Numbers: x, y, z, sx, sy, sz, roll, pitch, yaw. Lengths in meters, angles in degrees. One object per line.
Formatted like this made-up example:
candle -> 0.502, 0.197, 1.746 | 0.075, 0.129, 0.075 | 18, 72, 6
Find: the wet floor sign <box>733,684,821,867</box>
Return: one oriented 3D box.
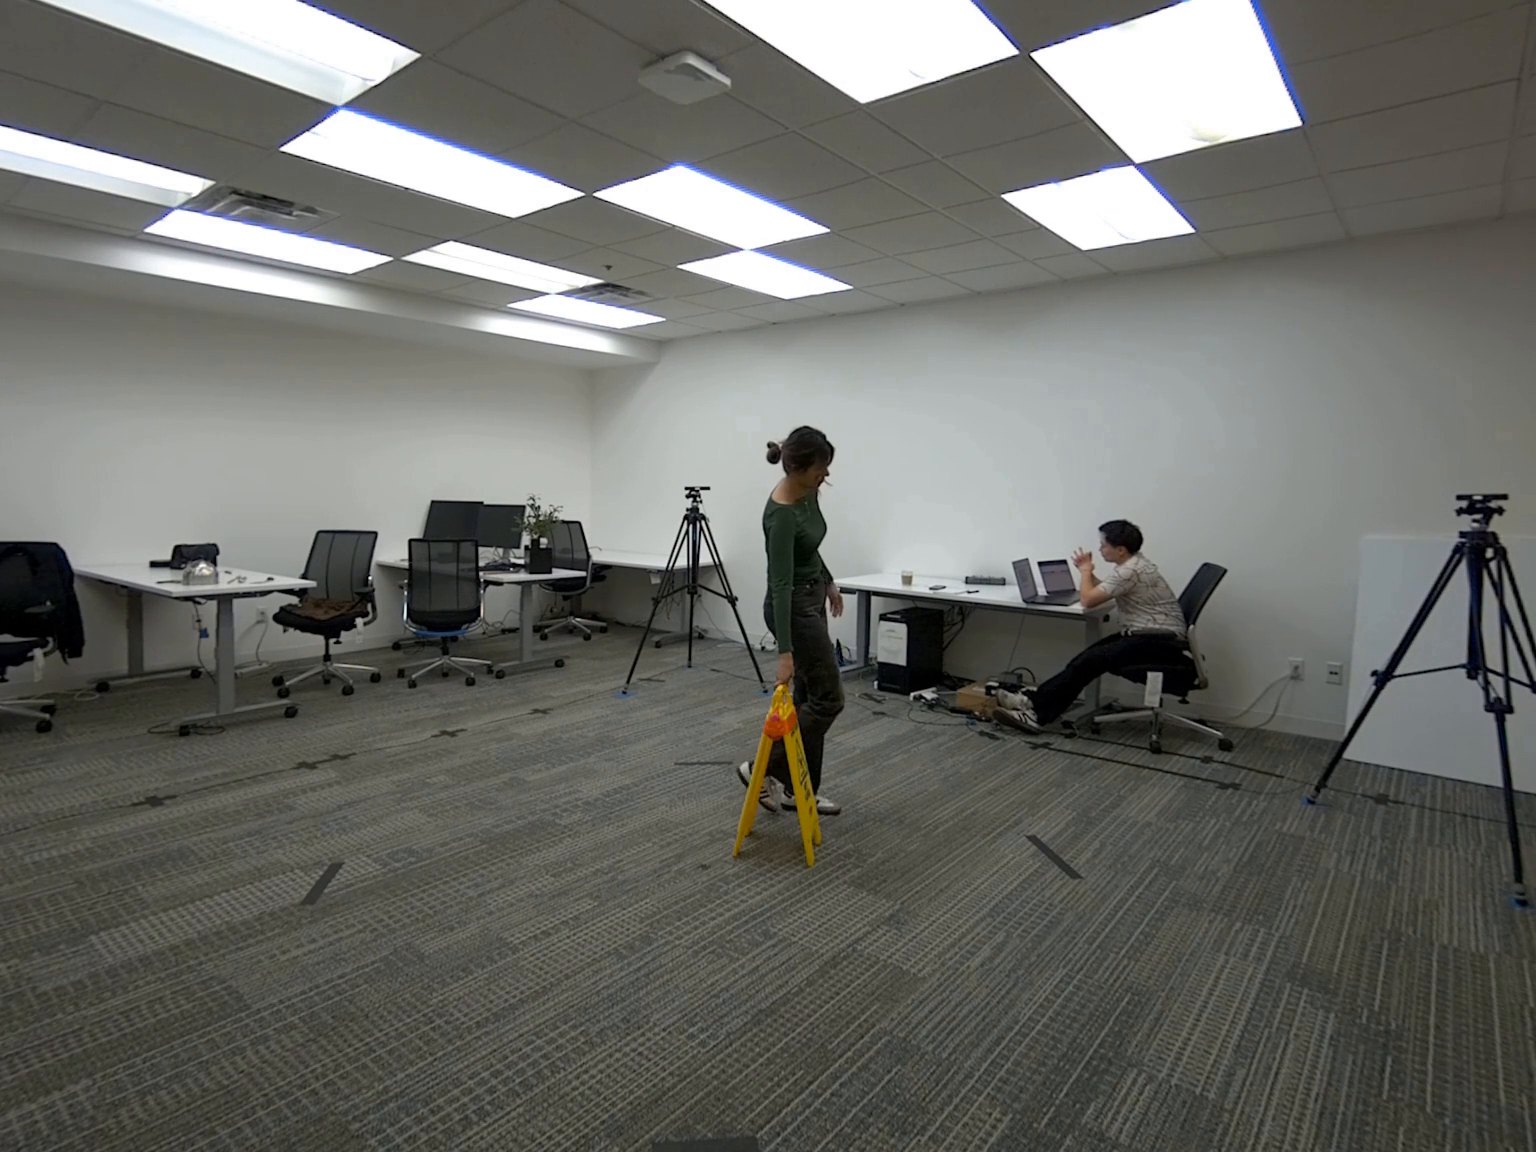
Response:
wet floor sign -> 0.034, 0.730, 3.282 | 0.294, 0.645, 0.278 | 1, 1, 13
